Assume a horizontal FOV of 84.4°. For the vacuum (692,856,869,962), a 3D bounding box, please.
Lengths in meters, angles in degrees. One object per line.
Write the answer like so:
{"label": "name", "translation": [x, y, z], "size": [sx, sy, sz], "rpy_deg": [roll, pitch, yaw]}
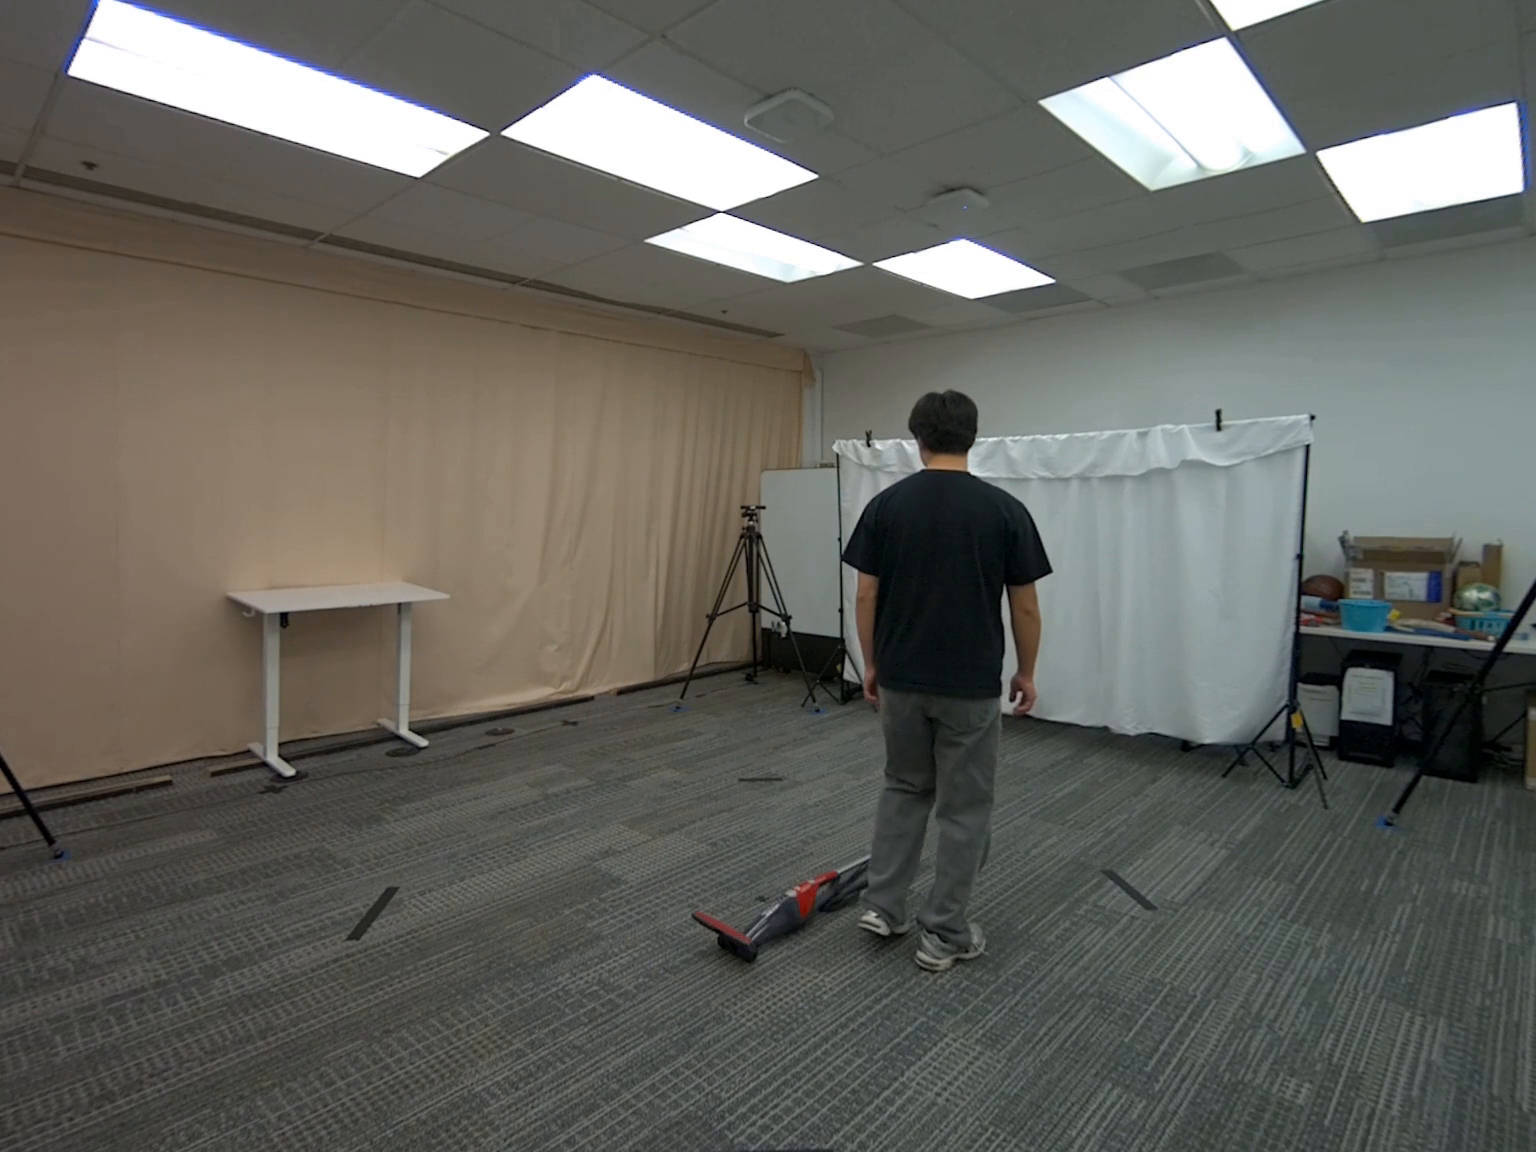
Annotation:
{"label": "vacuum", "translation": [0.233, 1.091, 2.936], "size": [1.017, 0.143, 0.261], "rpy_deg": [-4, 9, -44]}
